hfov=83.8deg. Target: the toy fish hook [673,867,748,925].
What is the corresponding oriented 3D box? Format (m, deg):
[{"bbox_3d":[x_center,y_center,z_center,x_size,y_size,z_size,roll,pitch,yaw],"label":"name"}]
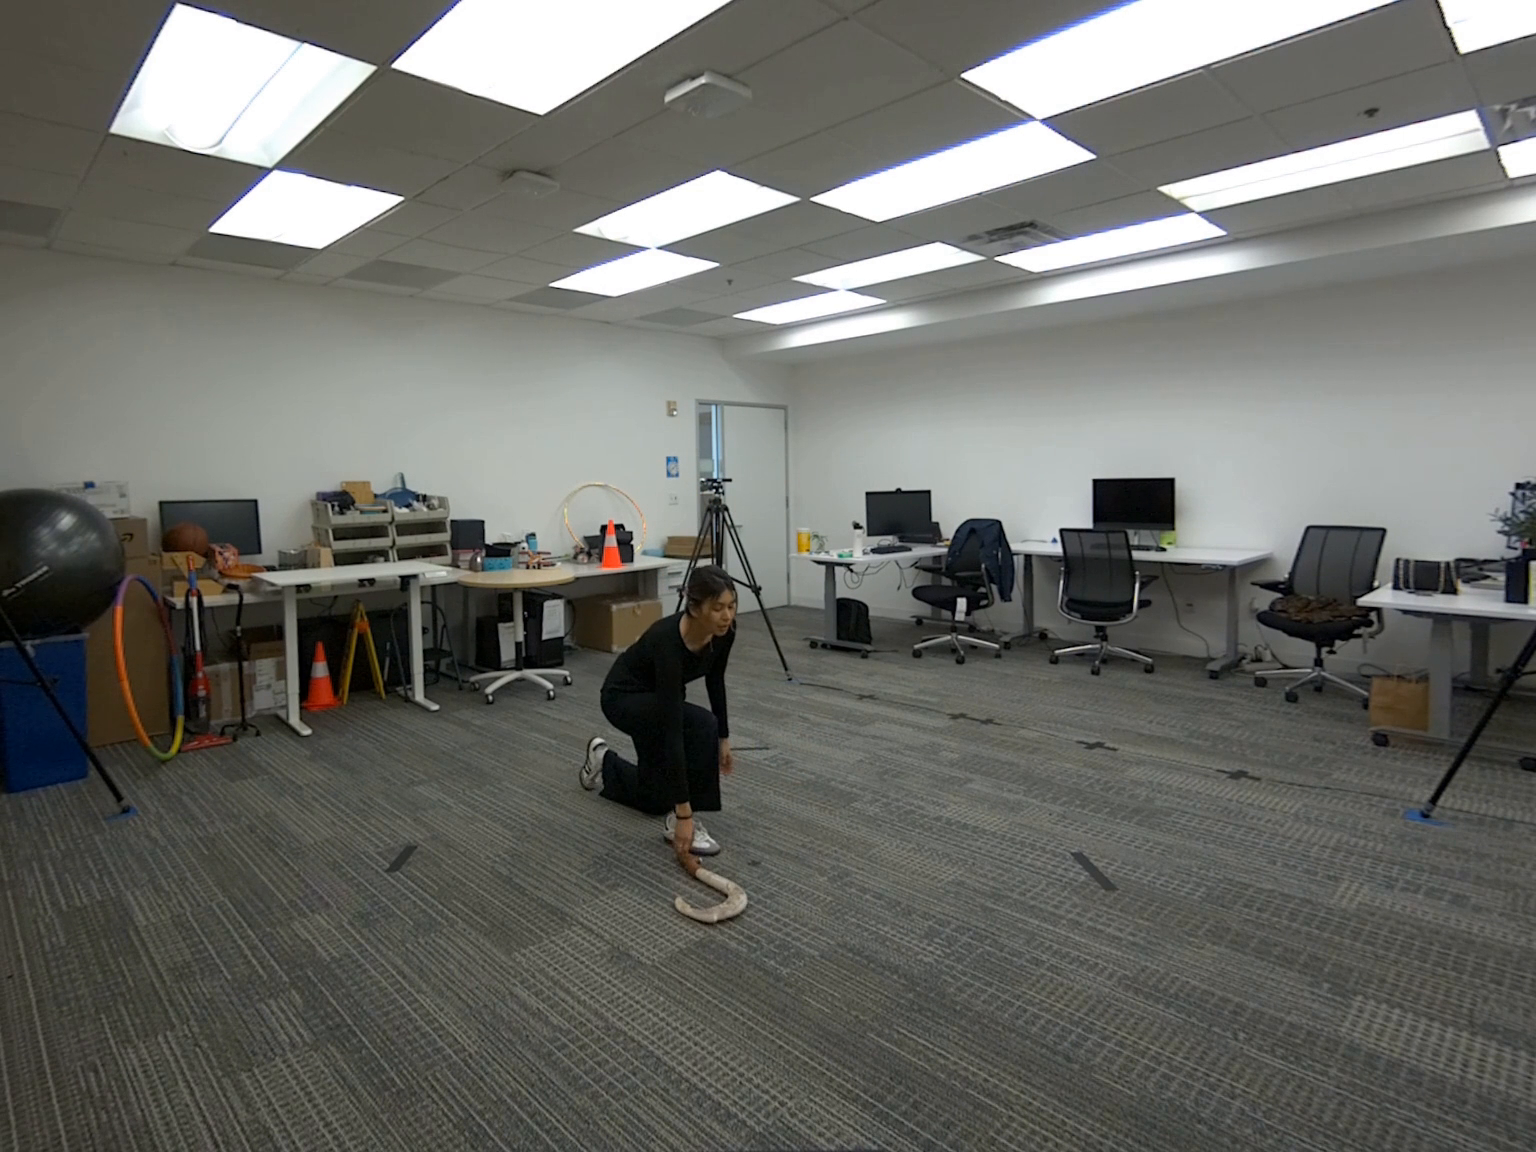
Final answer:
[{"bbox_3d":[-0.255,1.049,2.911,0.219,0.048,0.520,-4,7,-28],"label":"toy fish hook"}]
